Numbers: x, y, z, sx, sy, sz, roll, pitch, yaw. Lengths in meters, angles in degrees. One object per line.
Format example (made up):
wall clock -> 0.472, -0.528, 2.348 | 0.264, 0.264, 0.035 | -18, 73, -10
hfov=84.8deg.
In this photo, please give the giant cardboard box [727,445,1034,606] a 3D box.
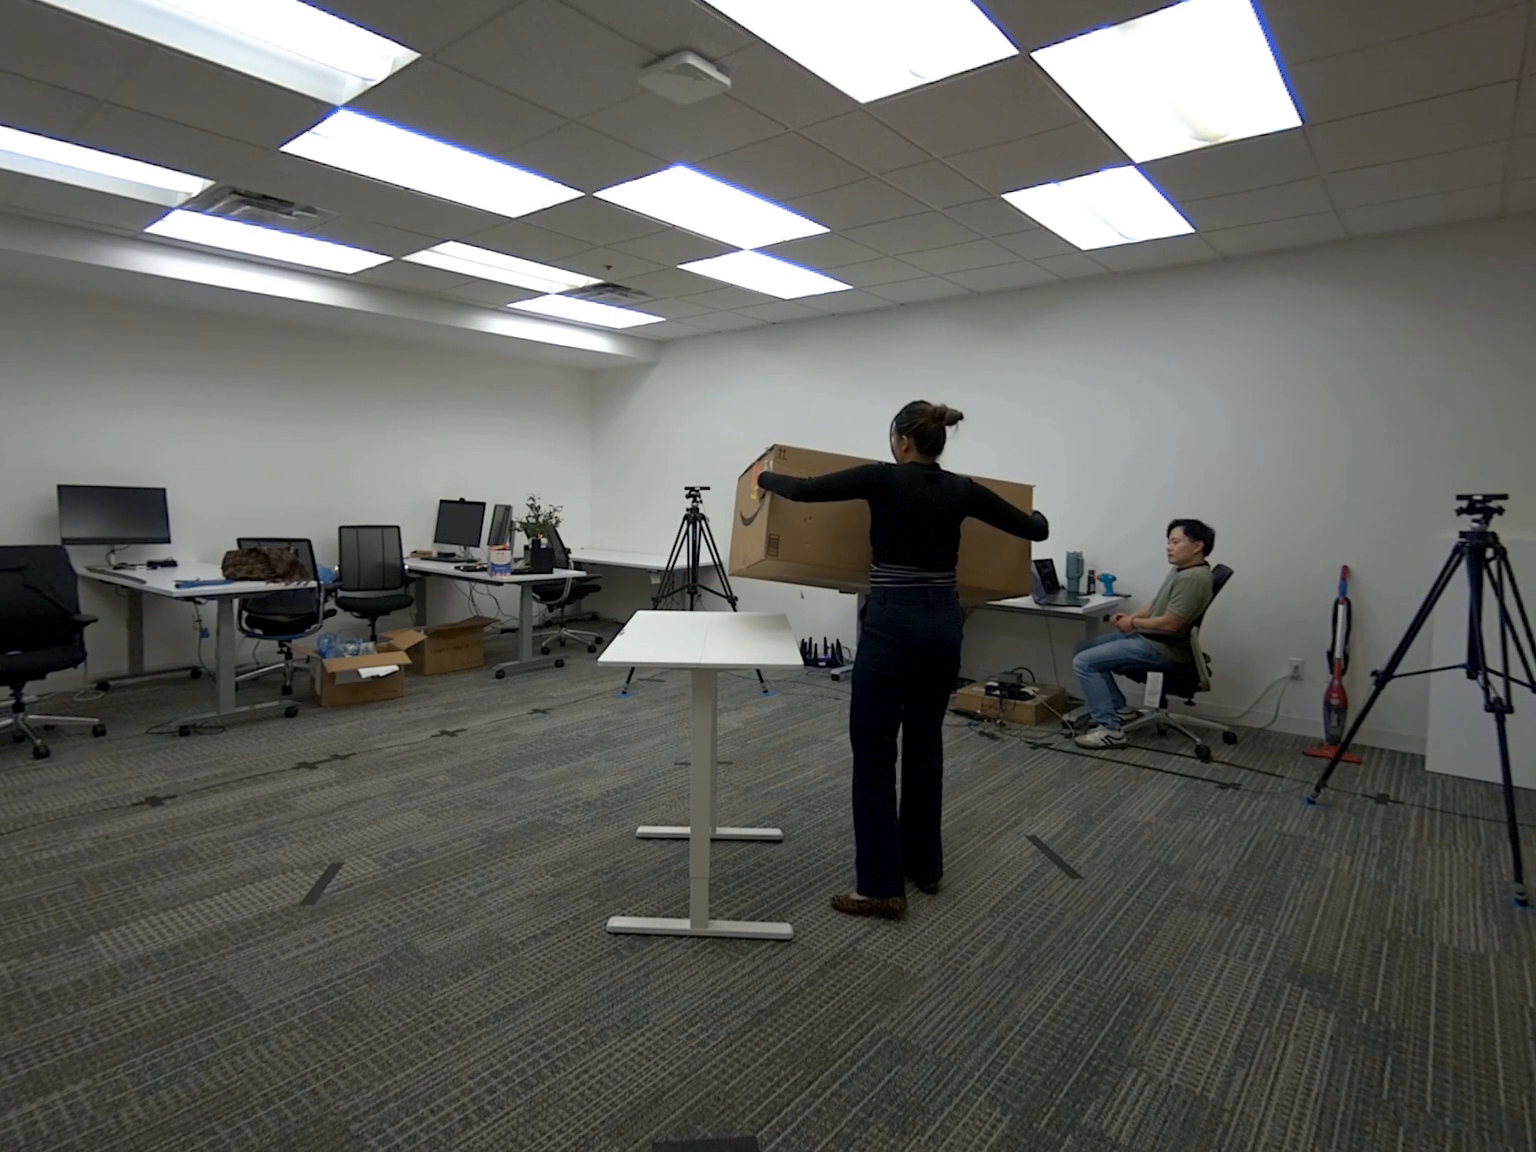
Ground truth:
giant cardboard box -> 0.409, -0.179, 3.343 | 1.013, 0.430, 0.580 | 7, -9, -11
